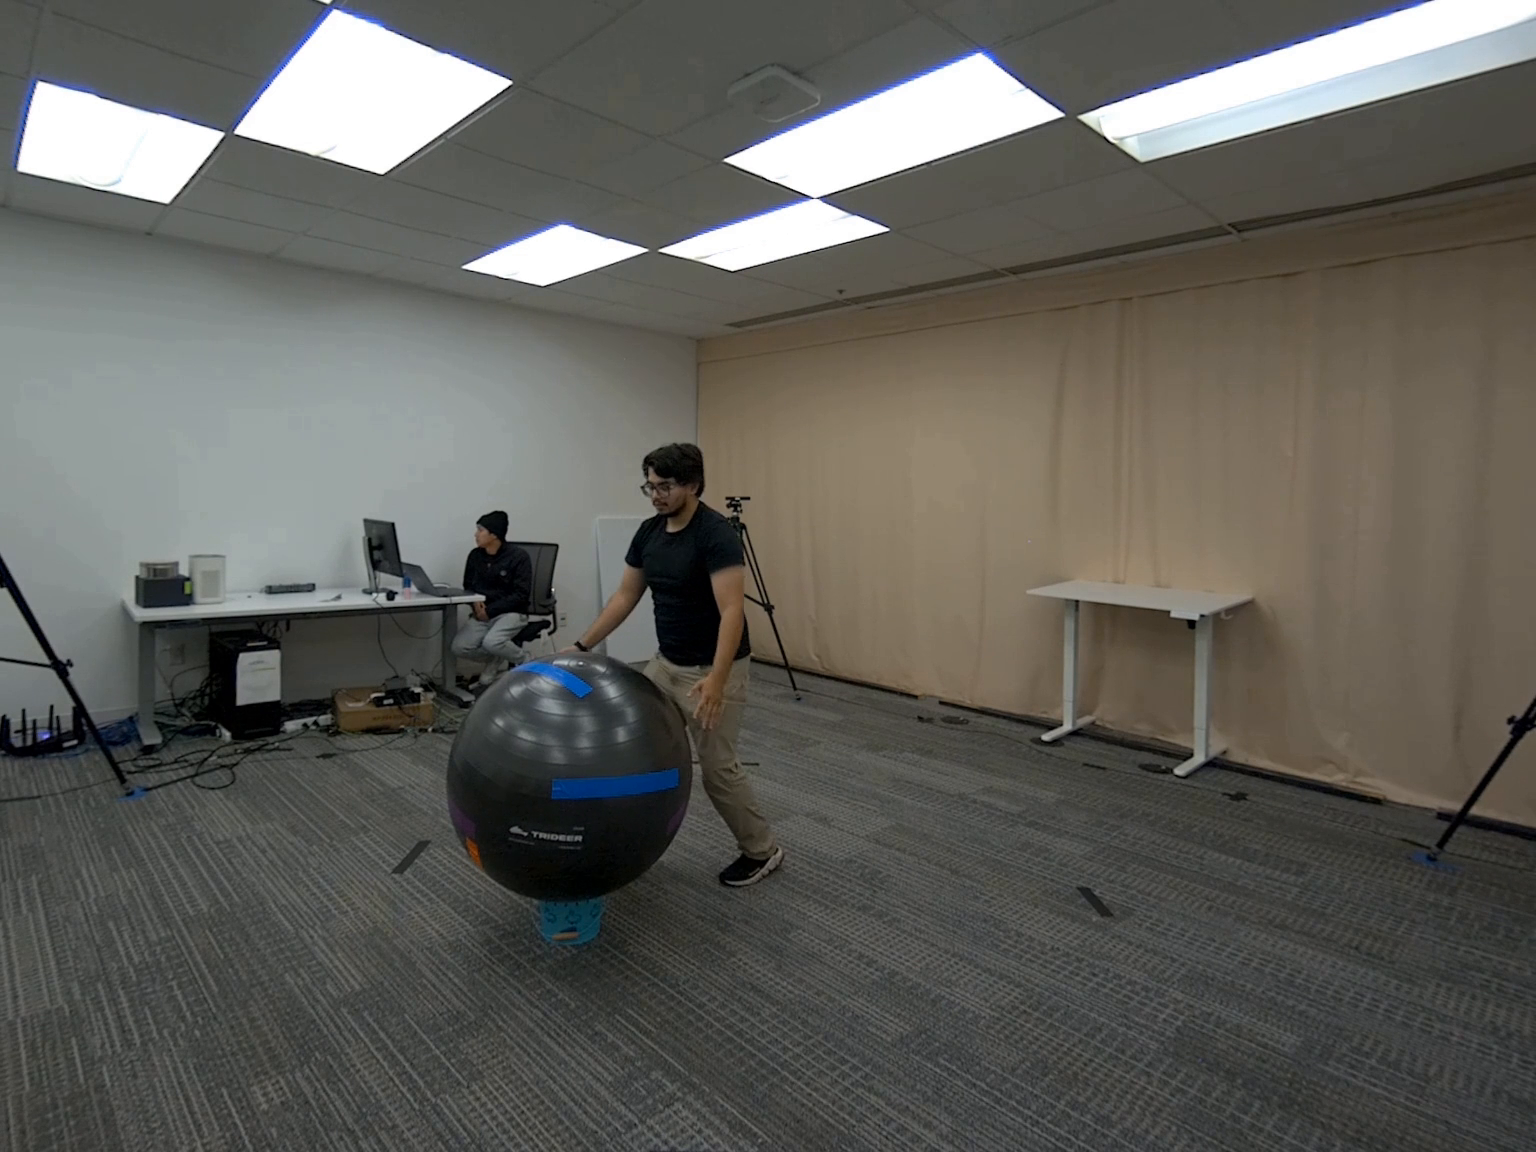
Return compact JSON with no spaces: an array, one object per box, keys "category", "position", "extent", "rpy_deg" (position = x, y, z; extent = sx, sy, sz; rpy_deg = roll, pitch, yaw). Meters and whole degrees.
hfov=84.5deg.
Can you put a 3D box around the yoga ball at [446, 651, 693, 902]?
[{"category":"yoga ball","position":[-0.626,0.638,2.639],"extent":[0.757,0.756,0.760],"rpy_deg":[1,4,-1]}]
